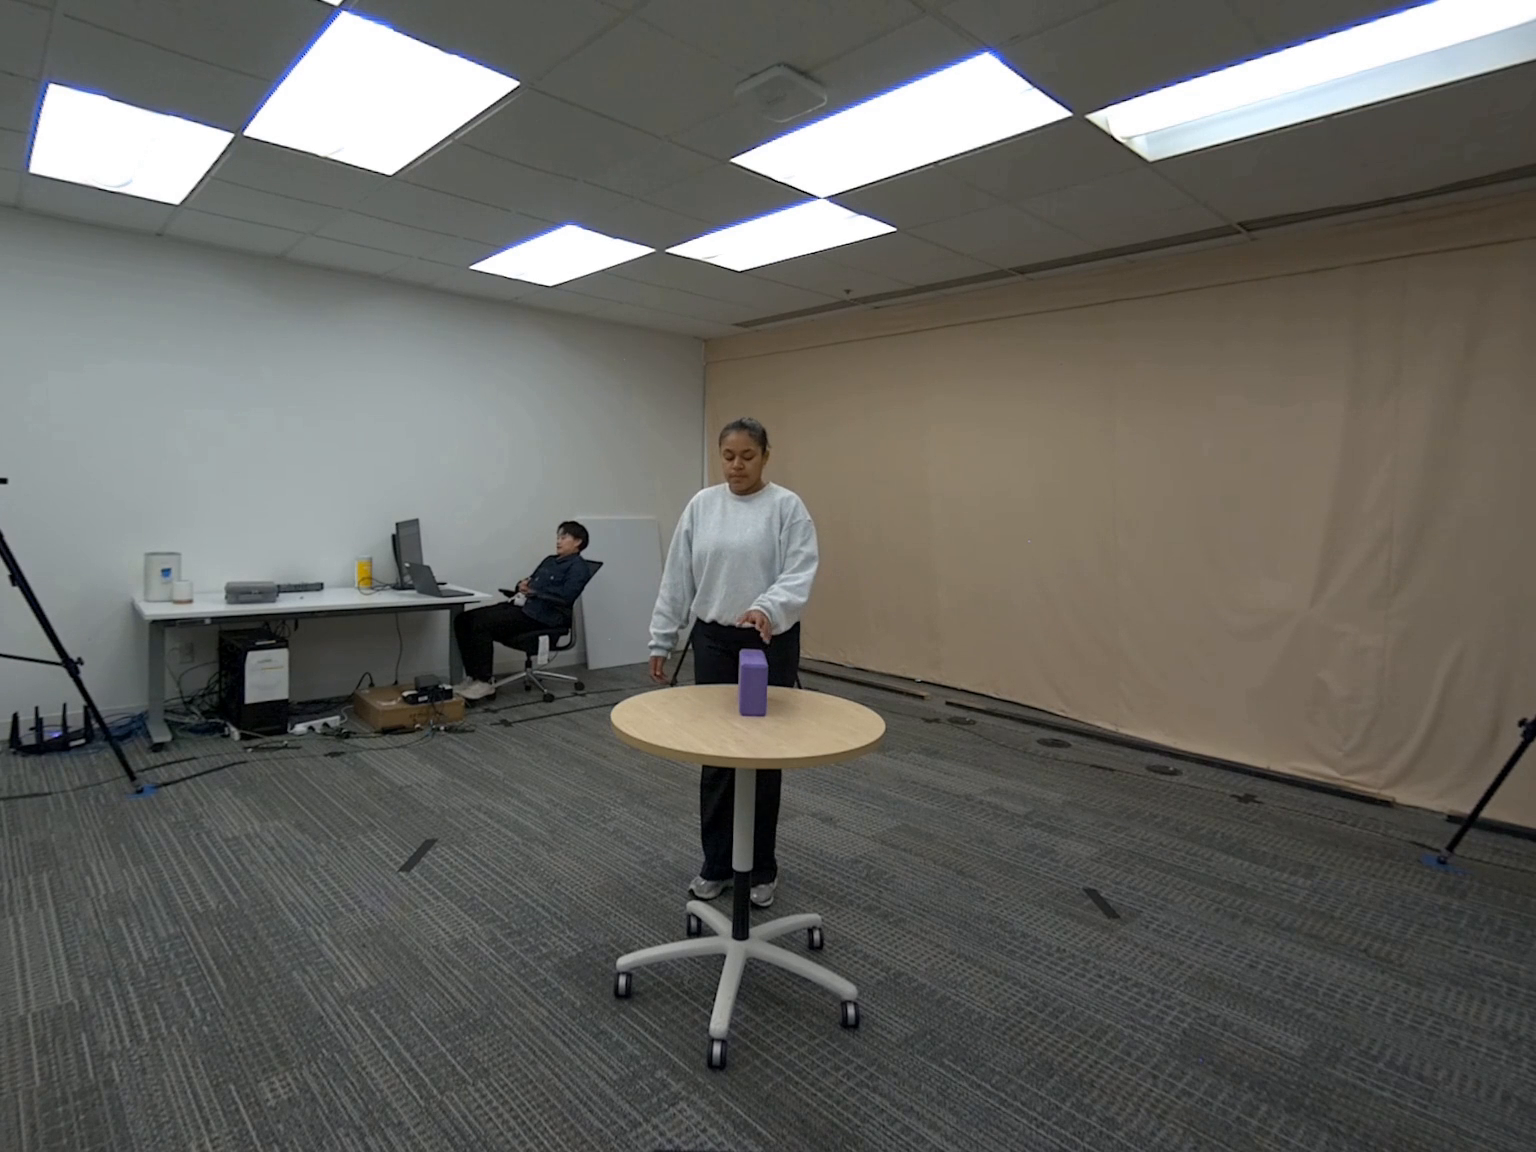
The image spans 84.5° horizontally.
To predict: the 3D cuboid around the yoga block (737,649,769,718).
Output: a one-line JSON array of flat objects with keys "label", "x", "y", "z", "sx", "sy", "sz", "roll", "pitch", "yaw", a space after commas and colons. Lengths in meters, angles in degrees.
[{"label": "yoga block", "x": -0.053, "y": 0.314, "z": 2.464, "sx": 0.076, "sy": 0.148, "sz": 0.230, "roll": 3, "pitch": 5, "yaw": 0}]
